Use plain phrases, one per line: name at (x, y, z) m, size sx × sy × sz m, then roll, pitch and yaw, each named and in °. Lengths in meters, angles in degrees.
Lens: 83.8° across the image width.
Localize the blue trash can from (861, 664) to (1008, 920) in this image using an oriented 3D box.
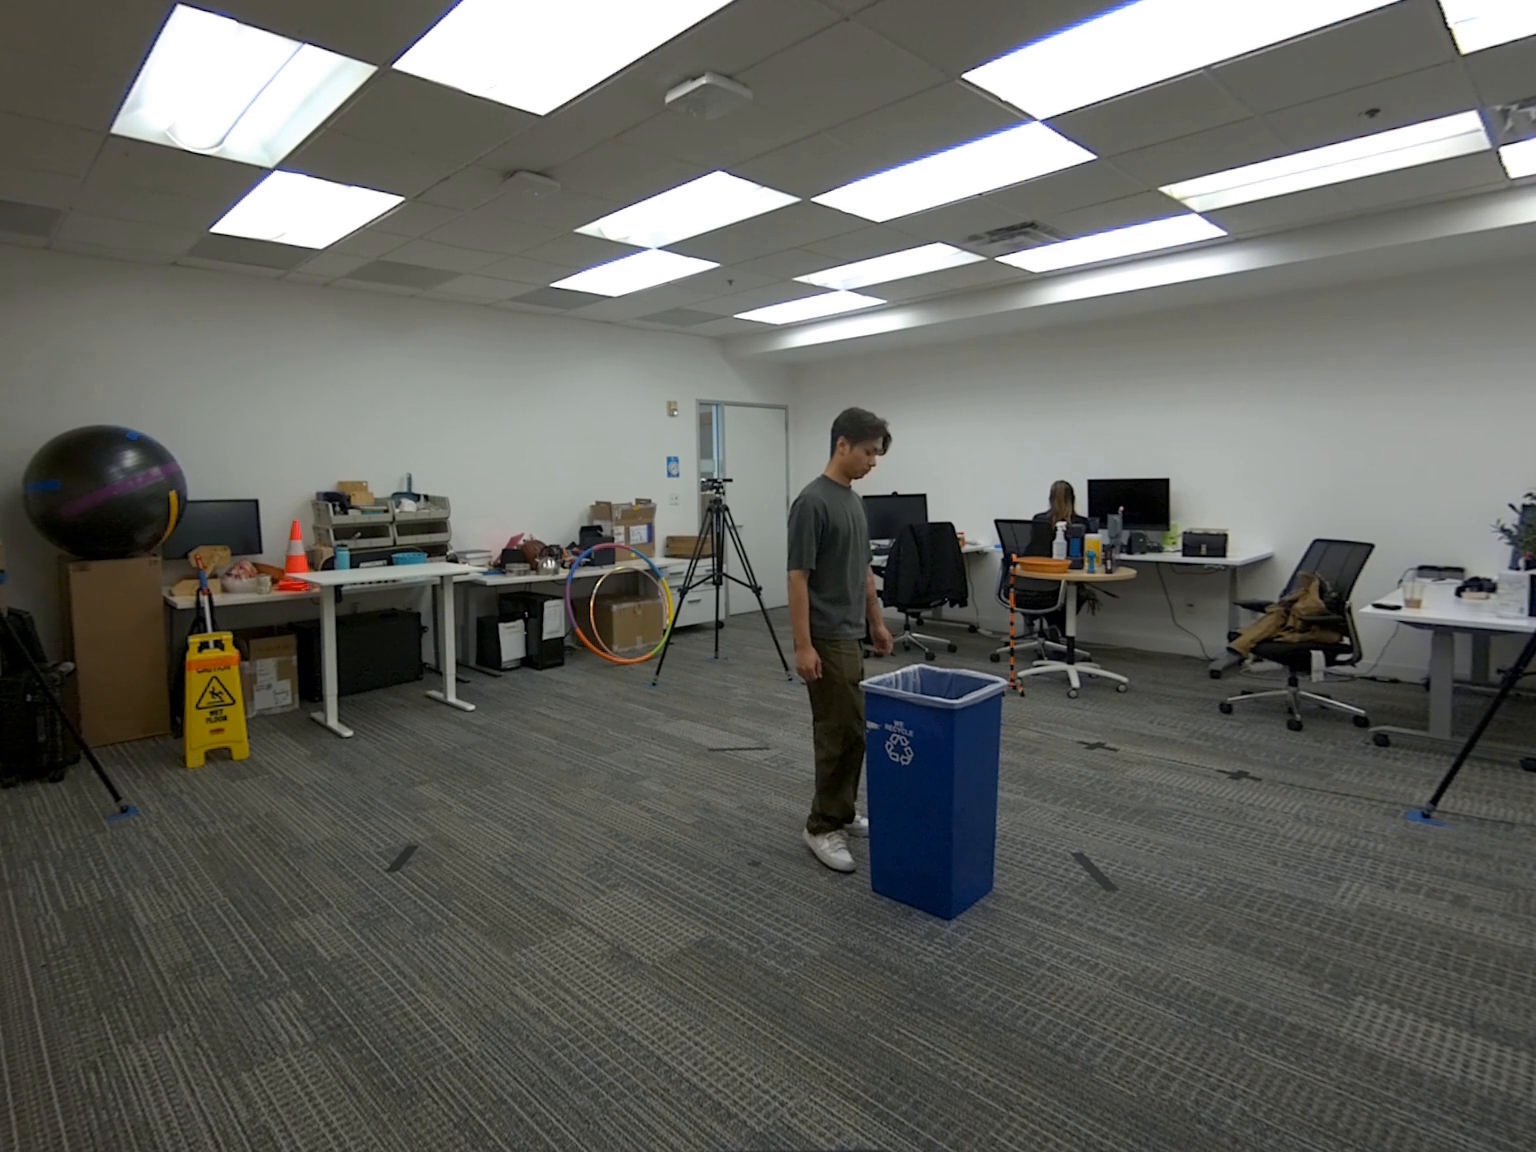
blue trash can at (0.560, 0.705, 2.861) m, size 0.390 × 0.710 × 0.364 m, roll 4°, pitch 7°, yaw 42°
